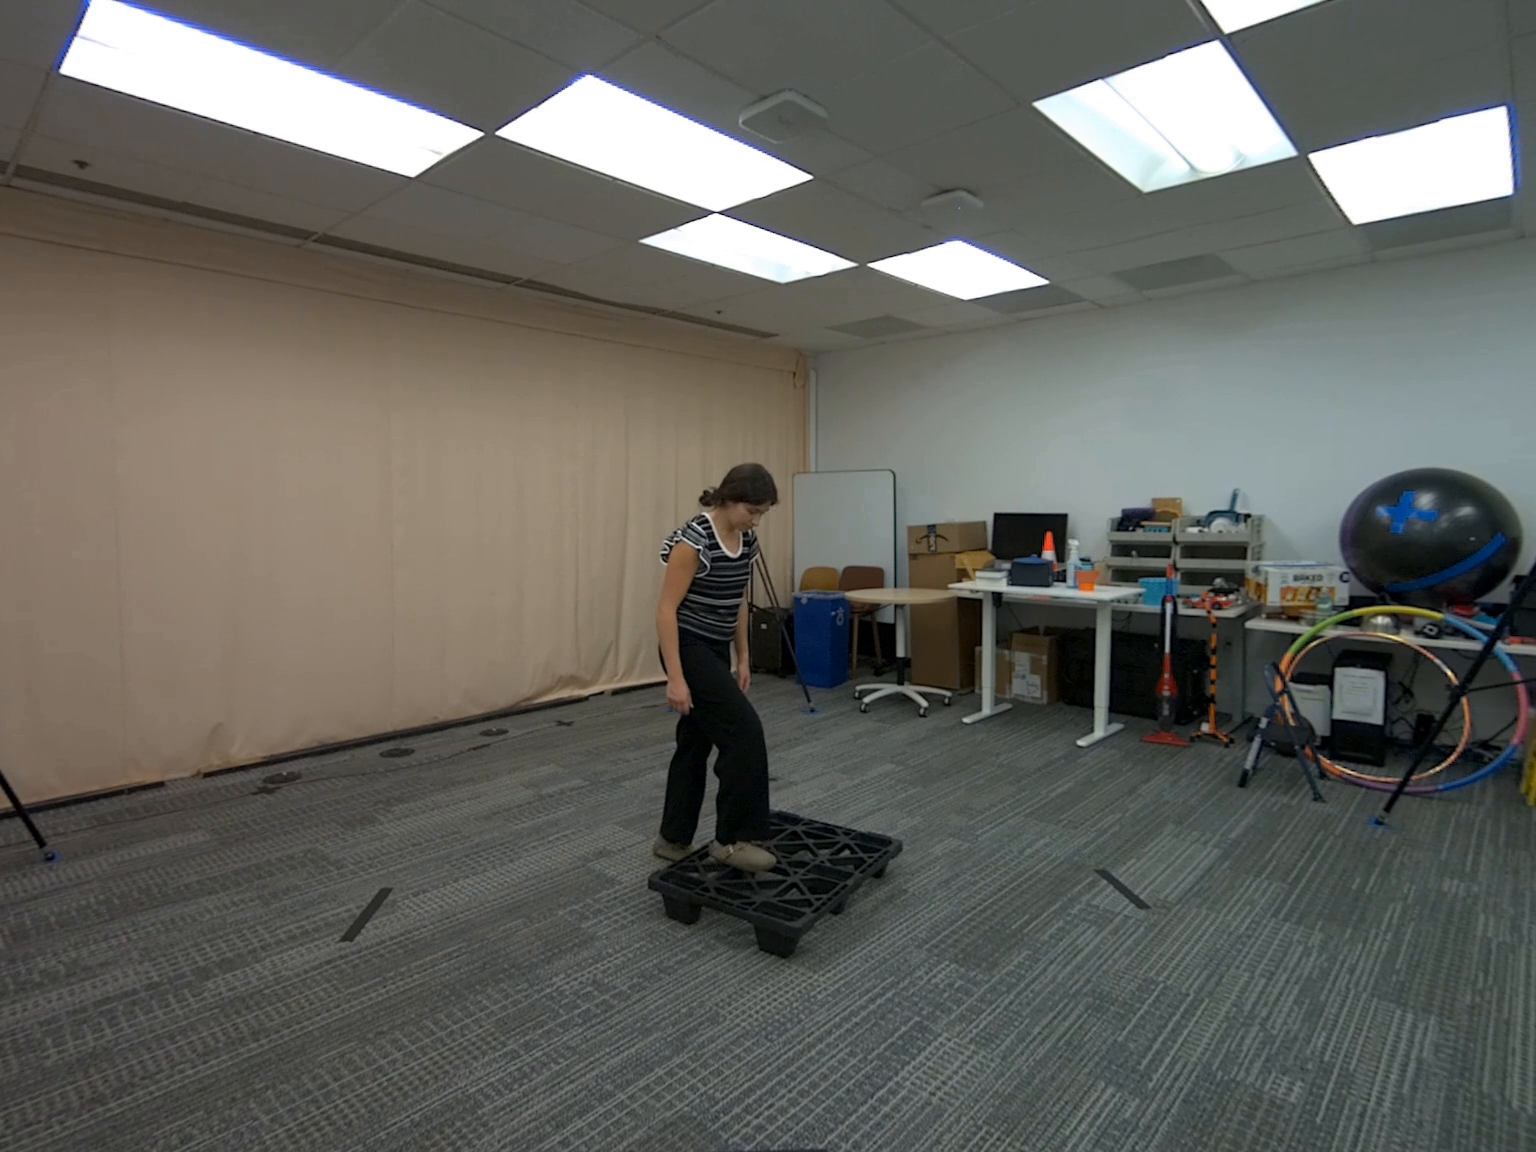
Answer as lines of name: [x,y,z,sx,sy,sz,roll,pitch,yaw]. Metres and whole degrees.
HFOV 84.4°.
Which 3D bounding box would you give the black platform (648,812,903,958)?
black platform: [0.057,1.073,3.010,0.624,0.143,0.783,4,7,33]
